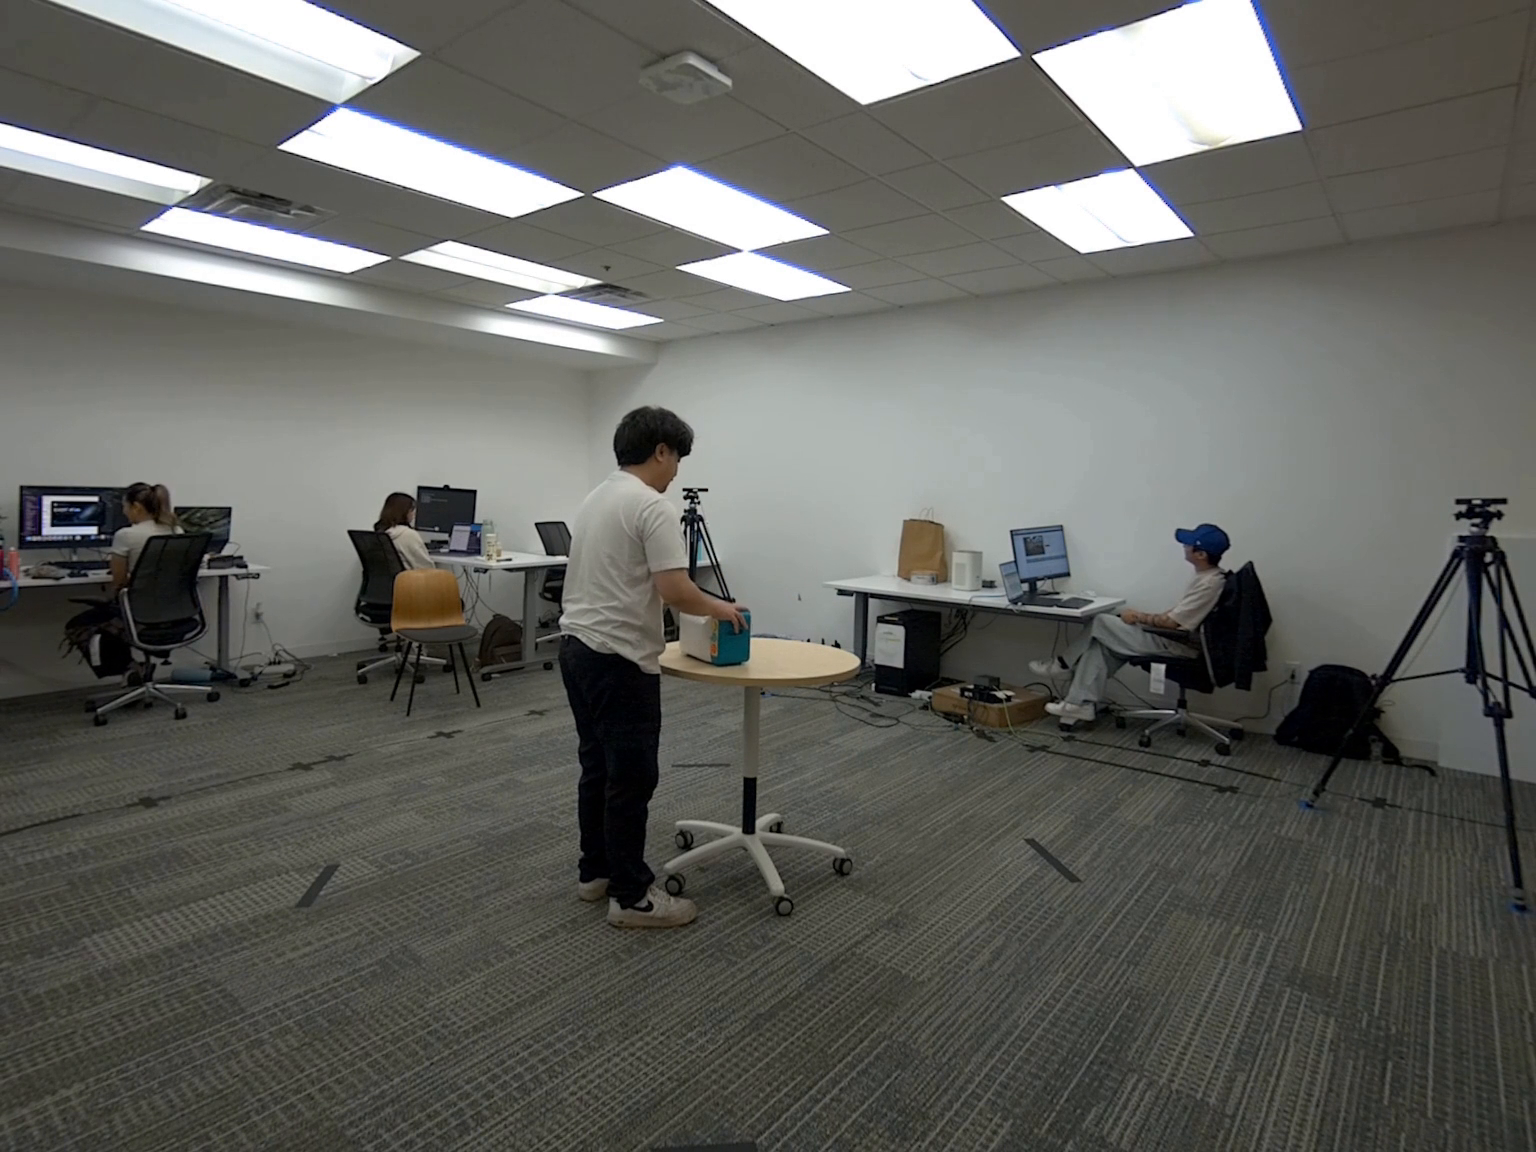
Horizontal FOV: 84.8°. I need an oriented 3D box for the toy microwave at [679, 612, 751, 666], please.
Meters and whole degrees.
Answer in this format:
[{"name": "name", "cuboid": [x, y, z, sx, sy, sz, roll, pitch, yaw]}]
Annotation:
[{"name": "toy microwave", "cuboid": [-0.205, 0.200, 2.982, 0.148, 0.183, 0.295, -1, 5, -33]}]
